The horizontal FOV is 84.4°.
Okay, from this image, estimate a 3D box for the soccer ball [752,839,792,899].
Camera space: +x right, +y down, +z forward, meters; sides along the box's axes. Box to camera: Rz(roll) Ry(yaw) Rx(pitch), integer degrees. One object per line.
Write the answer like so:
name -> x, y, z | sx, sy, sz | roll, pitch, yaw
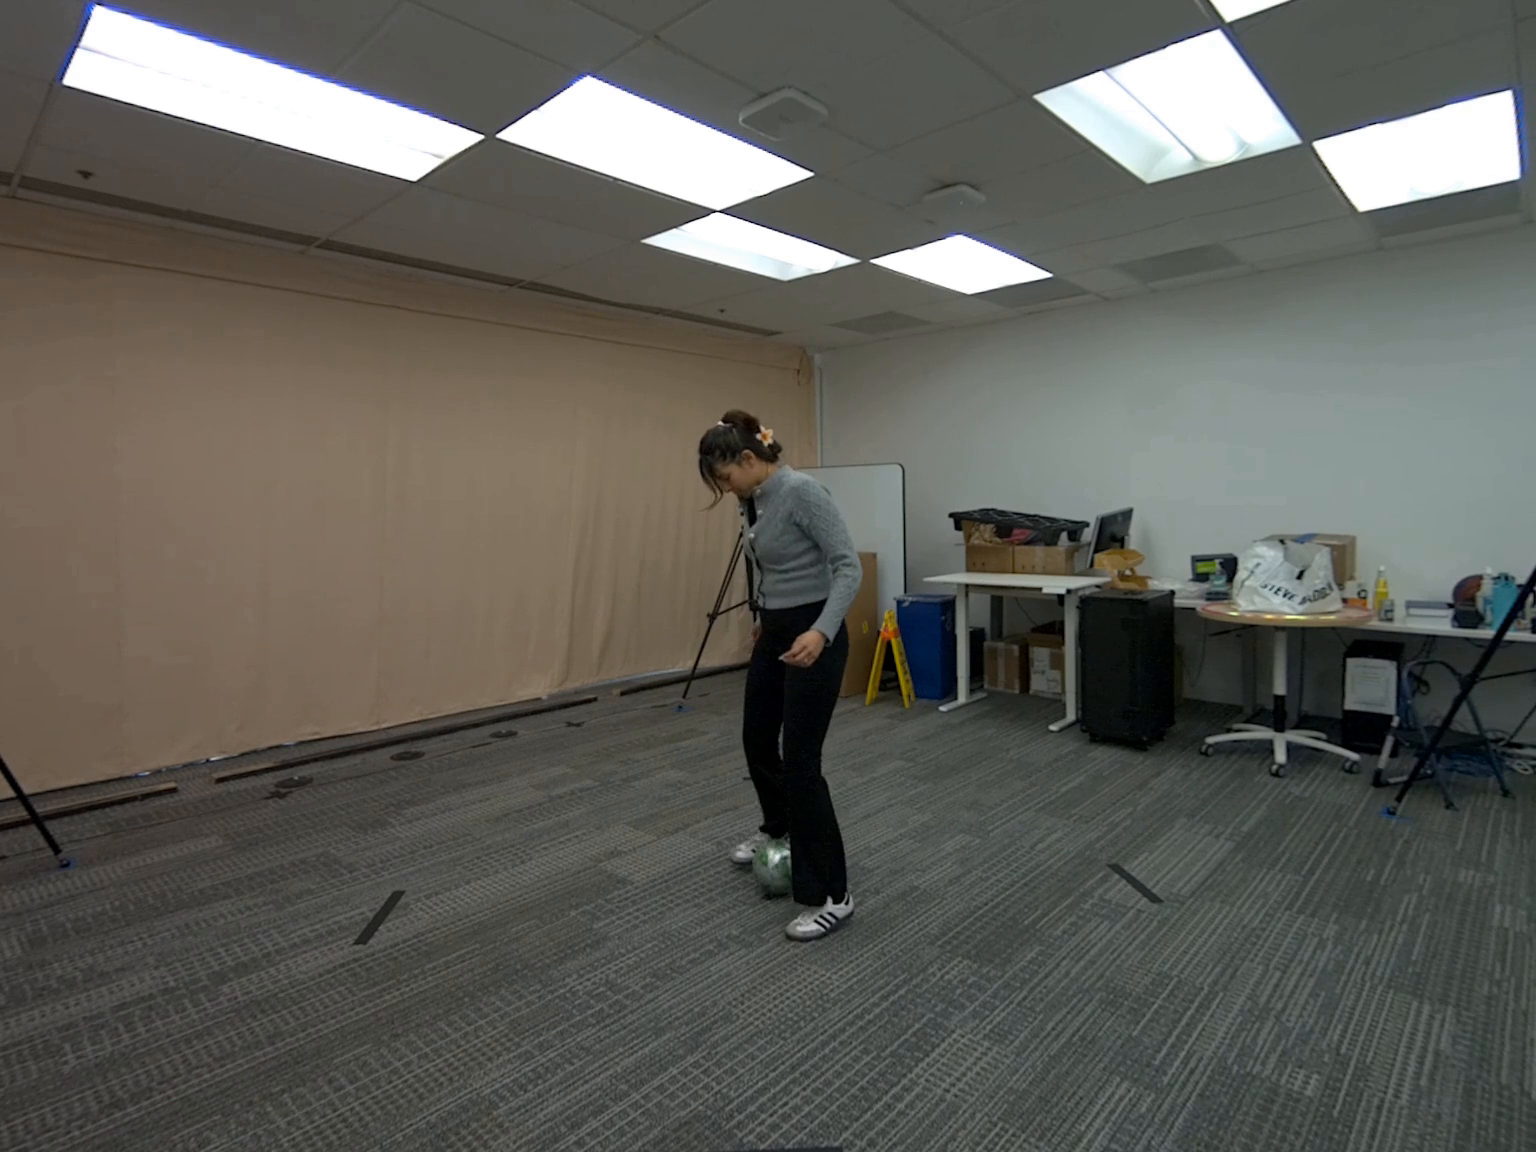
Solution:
soccer ball -> 0.049, 1.035, 2.987 | 0.187, 0.187, 0.188 | -1, 4, -2
